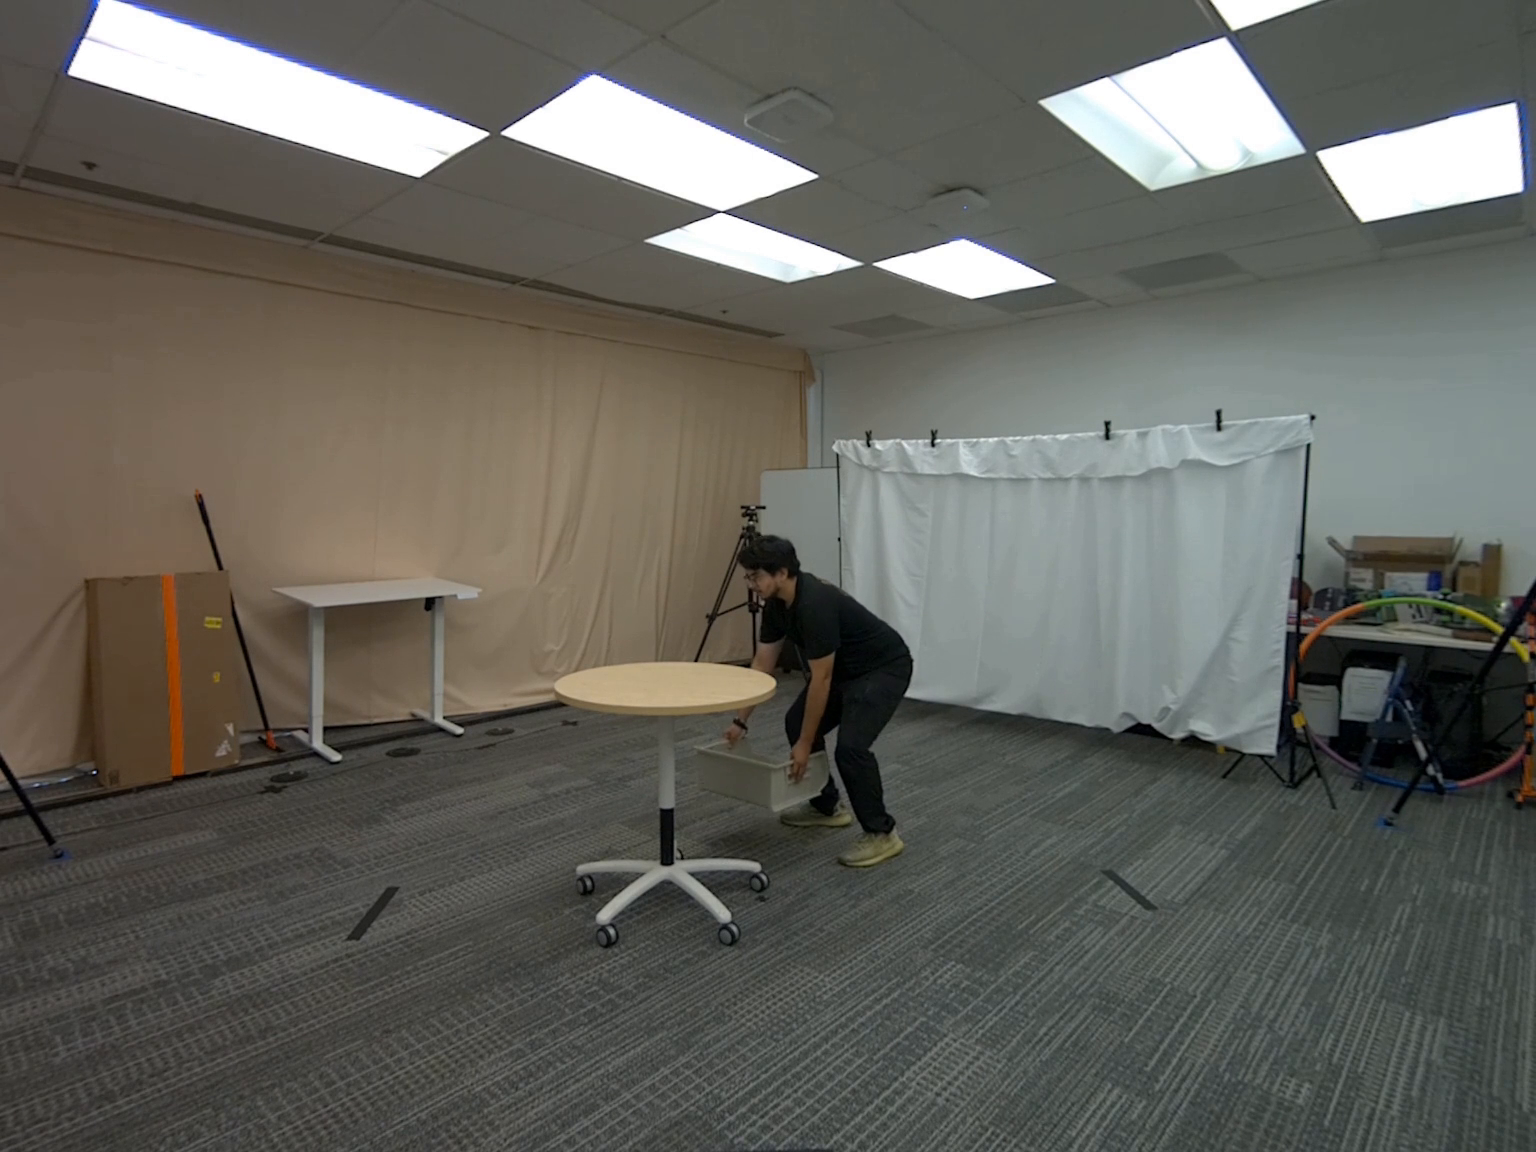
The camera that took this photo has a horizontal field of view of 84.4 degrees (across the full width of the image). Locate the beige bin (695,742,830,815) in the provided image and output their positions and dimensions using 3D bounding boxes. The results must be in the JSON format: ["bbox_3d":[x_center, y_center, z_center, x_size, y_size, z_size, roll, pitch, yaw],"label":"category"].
[{"bbox_3d":[-0.027,0.794,3.464,0.436,0.188,0.366,5,5,40],"label":"beige bin"}]
